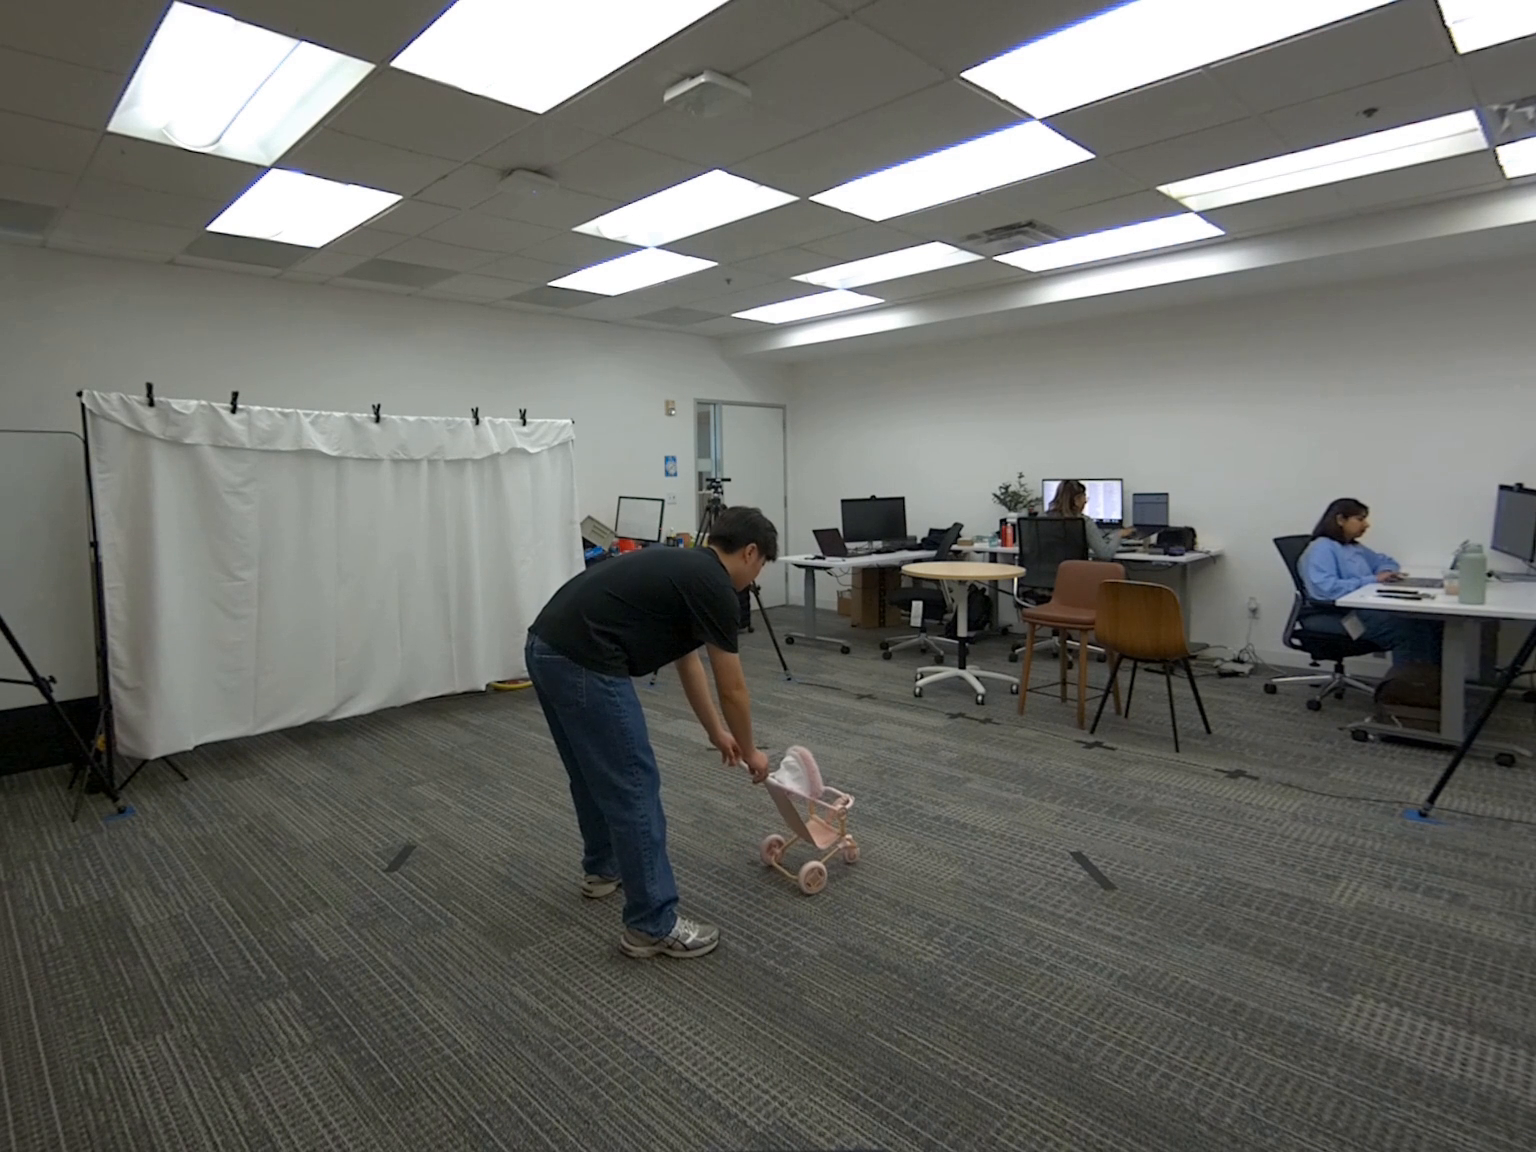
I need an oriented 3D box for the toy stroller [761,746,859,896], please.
[{"bbox_3d":[0.140,0.829,2.991,0.337,0.528,0.288,-21,12,-23],"label":"toy stroller"}]
